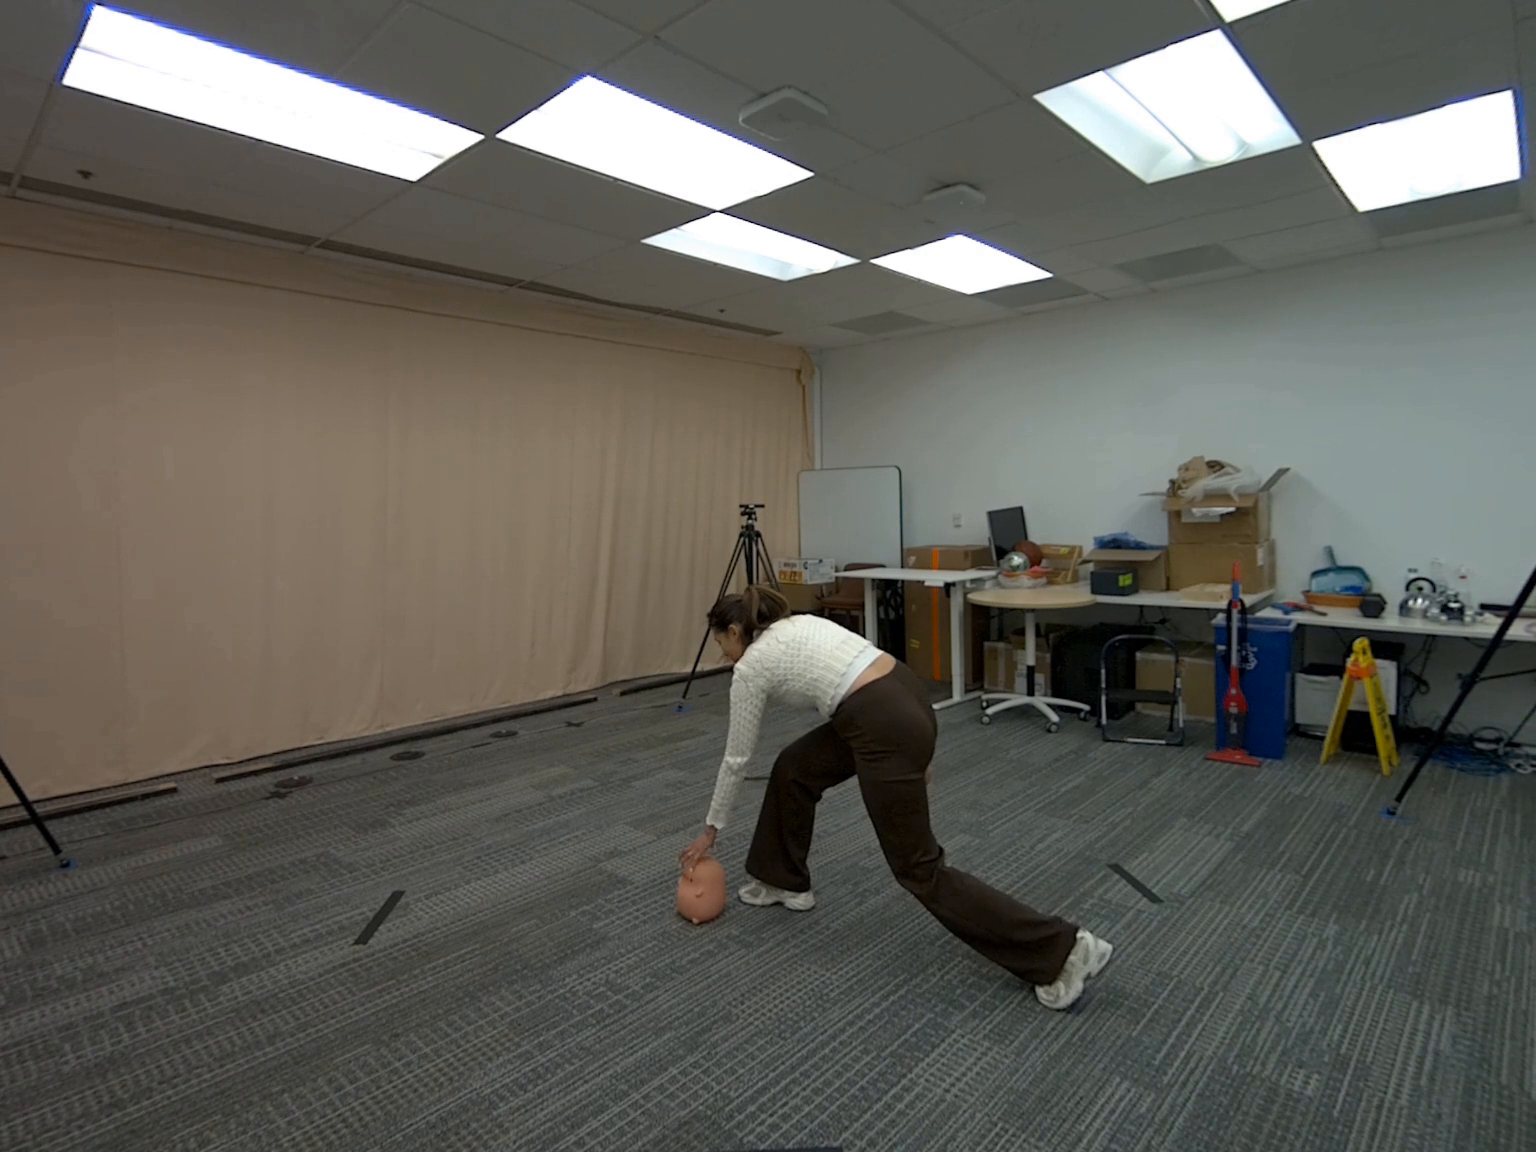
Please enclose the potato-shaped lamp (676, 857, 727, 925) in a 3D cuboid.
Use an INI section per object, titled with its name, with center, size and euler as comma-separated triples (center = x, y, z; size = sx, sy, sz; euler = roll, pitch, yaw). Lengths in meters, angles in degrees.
[potato-shaped lamp]
center = -0.222, 1.057, 2.866
size = 0.166, 0.198, 0.170
euler = -2, 4, -35
